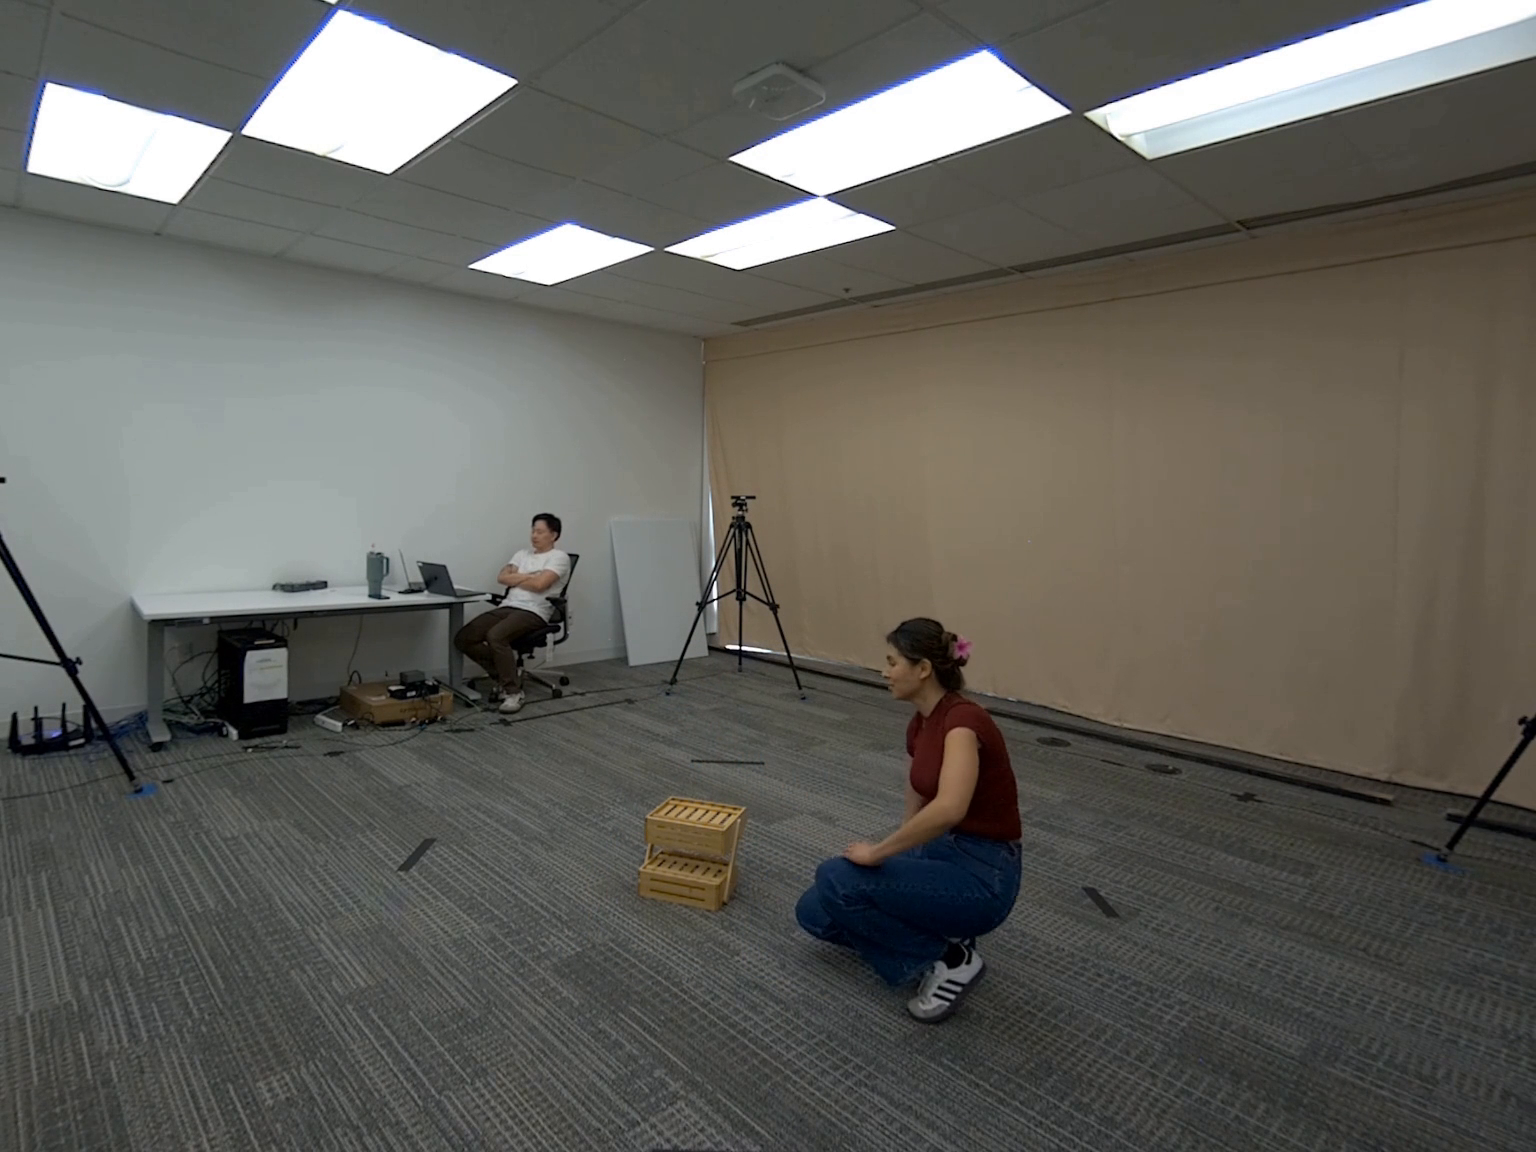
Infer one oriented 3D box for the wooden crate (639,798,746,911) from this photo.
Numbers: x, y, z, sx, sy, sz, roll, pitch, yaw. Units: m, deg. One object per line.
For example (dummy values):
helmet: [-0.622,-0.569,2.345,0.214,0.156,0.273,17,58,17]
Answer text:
wooden crate: [-0.271,0.981,3.005,0.329,0.273,0.298,3,4,19]
